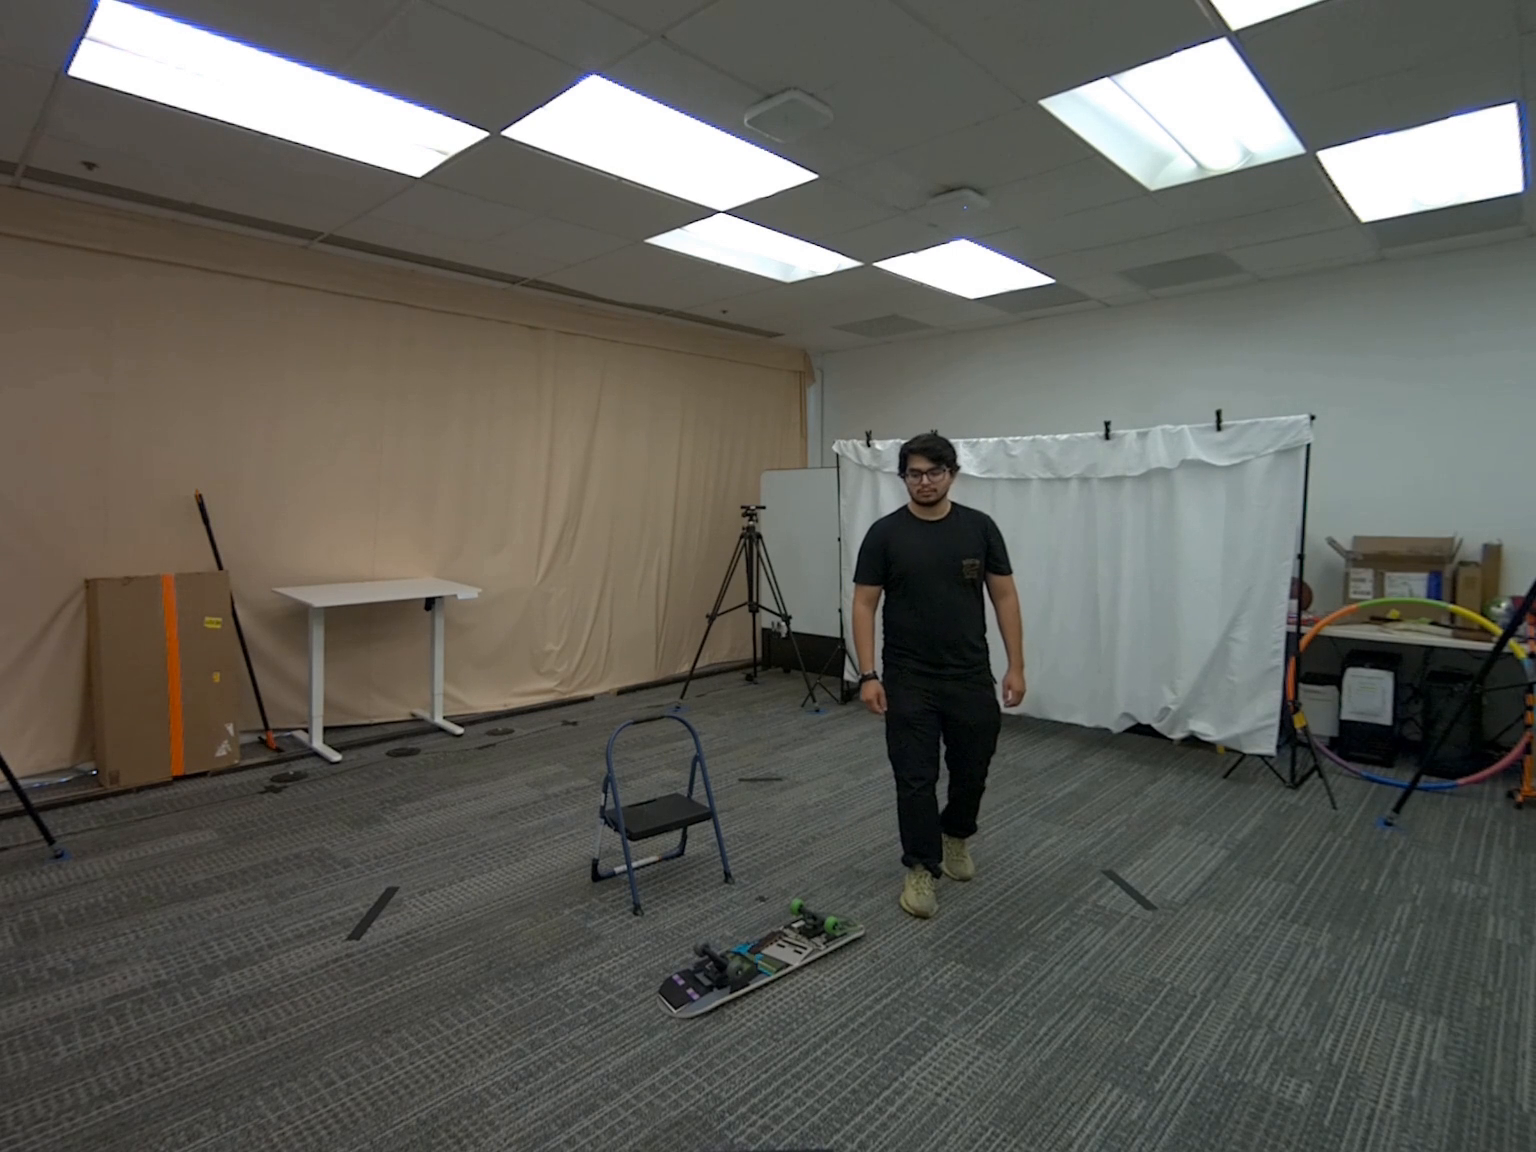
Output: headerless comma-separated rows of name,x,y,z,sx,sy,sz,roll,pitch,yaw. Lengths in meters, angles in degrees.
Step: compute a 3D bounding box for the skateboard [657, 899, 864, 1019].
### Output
skateboard,0.007,1.128,2.560,0.762,0.110,0.200,-4,6,-41
